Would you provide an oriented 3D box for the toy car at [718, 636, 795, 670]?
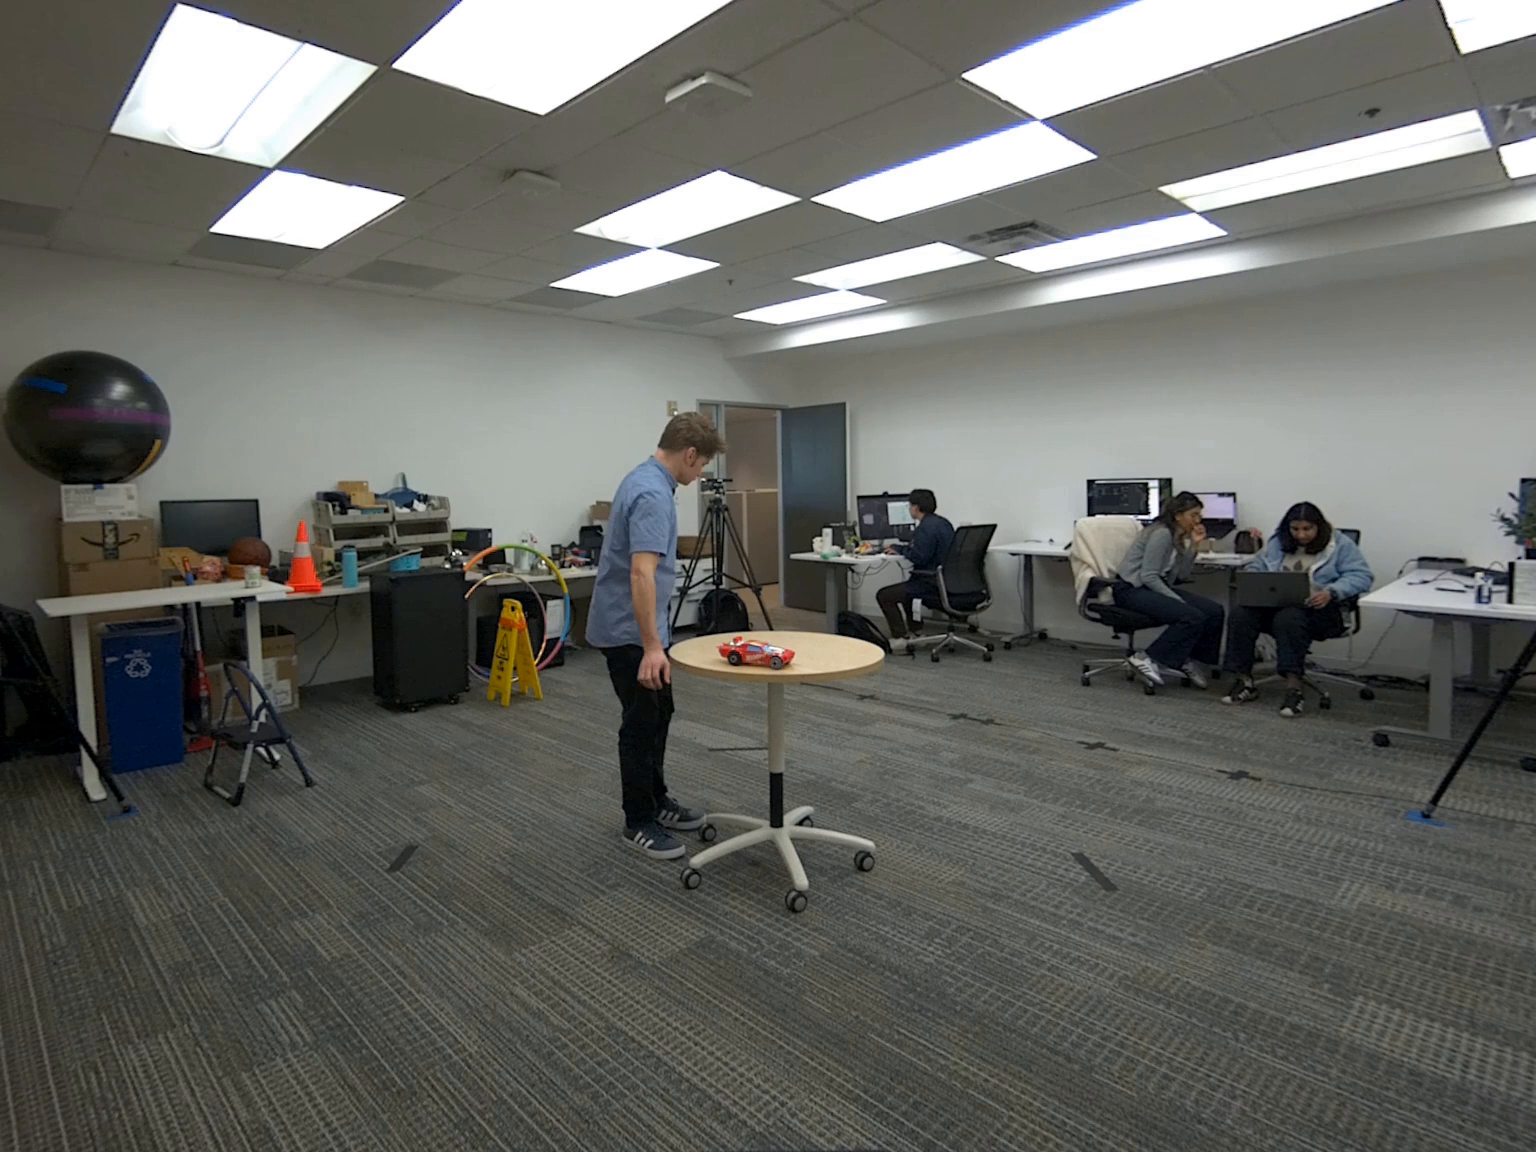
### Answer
[{"bbox_3d":[-0.038,0.260,2.826,0.261,0.082,0.128,13,10,21],"label":"toy car"}]
